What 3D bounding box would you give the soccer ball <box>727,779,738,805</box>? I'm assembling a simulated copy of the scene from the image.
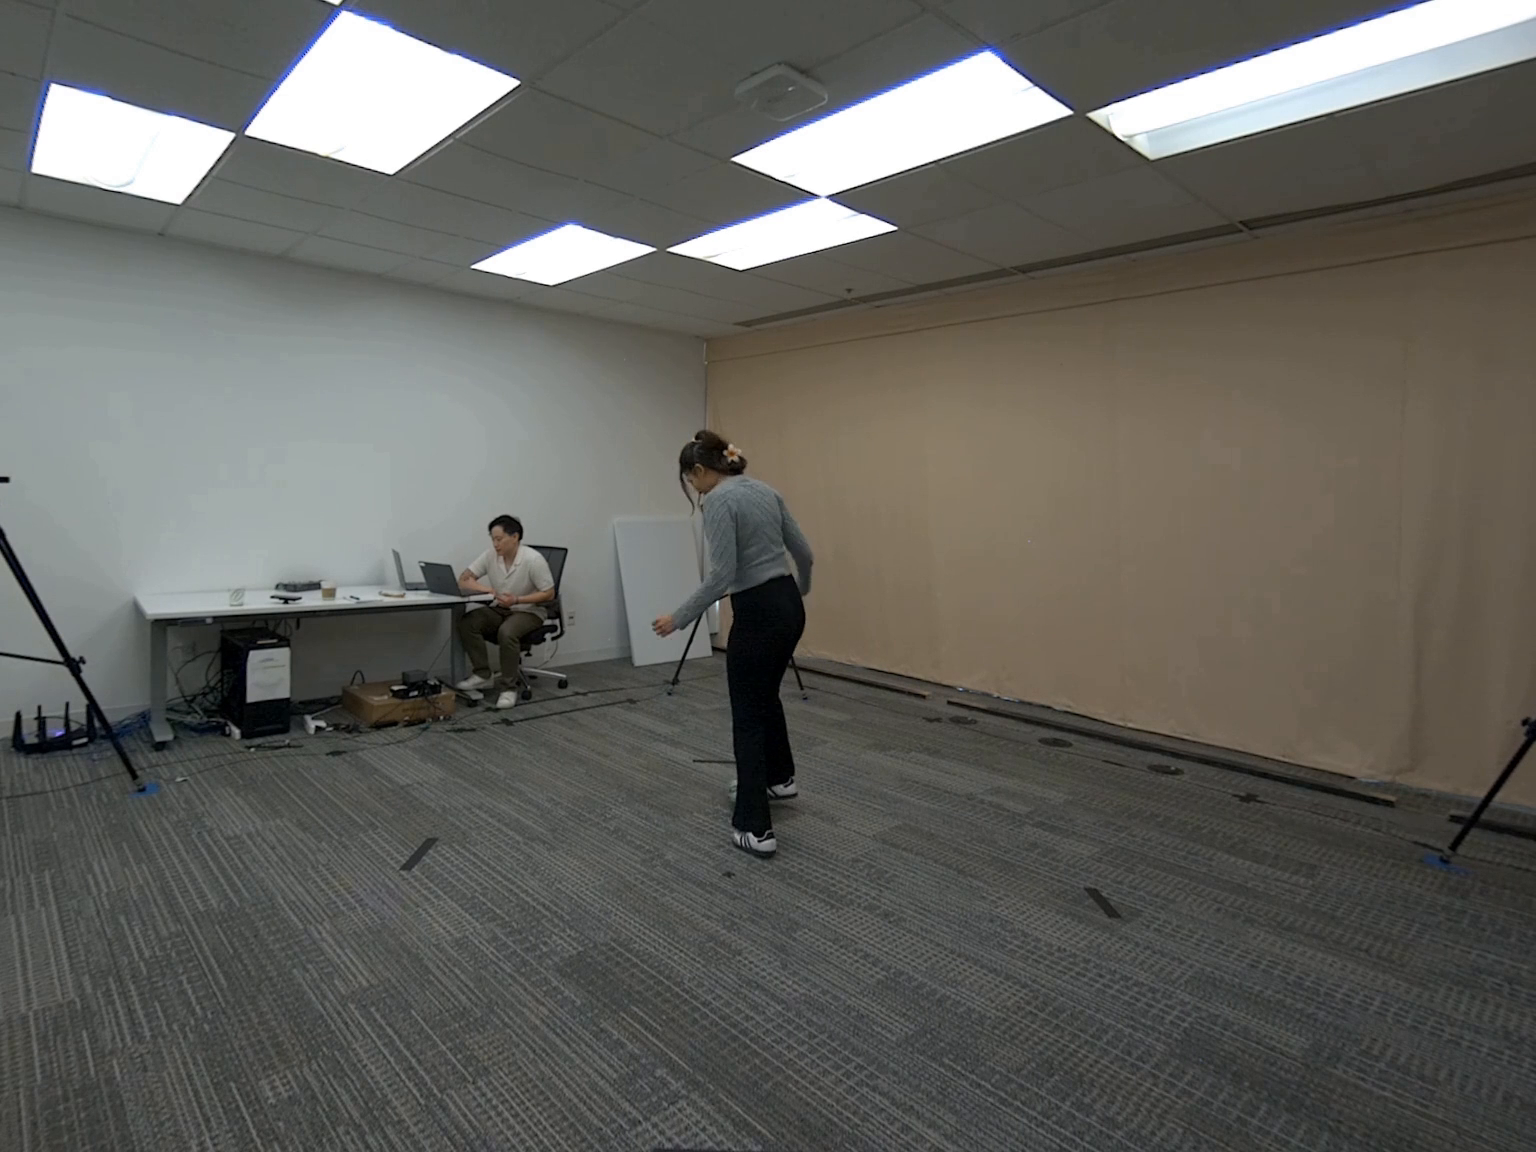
[{"bbox_3d":[-0.092,0.965,3.707,0.187,0.187,0.188,1,4,-1],"label":"soccer ball"}]
